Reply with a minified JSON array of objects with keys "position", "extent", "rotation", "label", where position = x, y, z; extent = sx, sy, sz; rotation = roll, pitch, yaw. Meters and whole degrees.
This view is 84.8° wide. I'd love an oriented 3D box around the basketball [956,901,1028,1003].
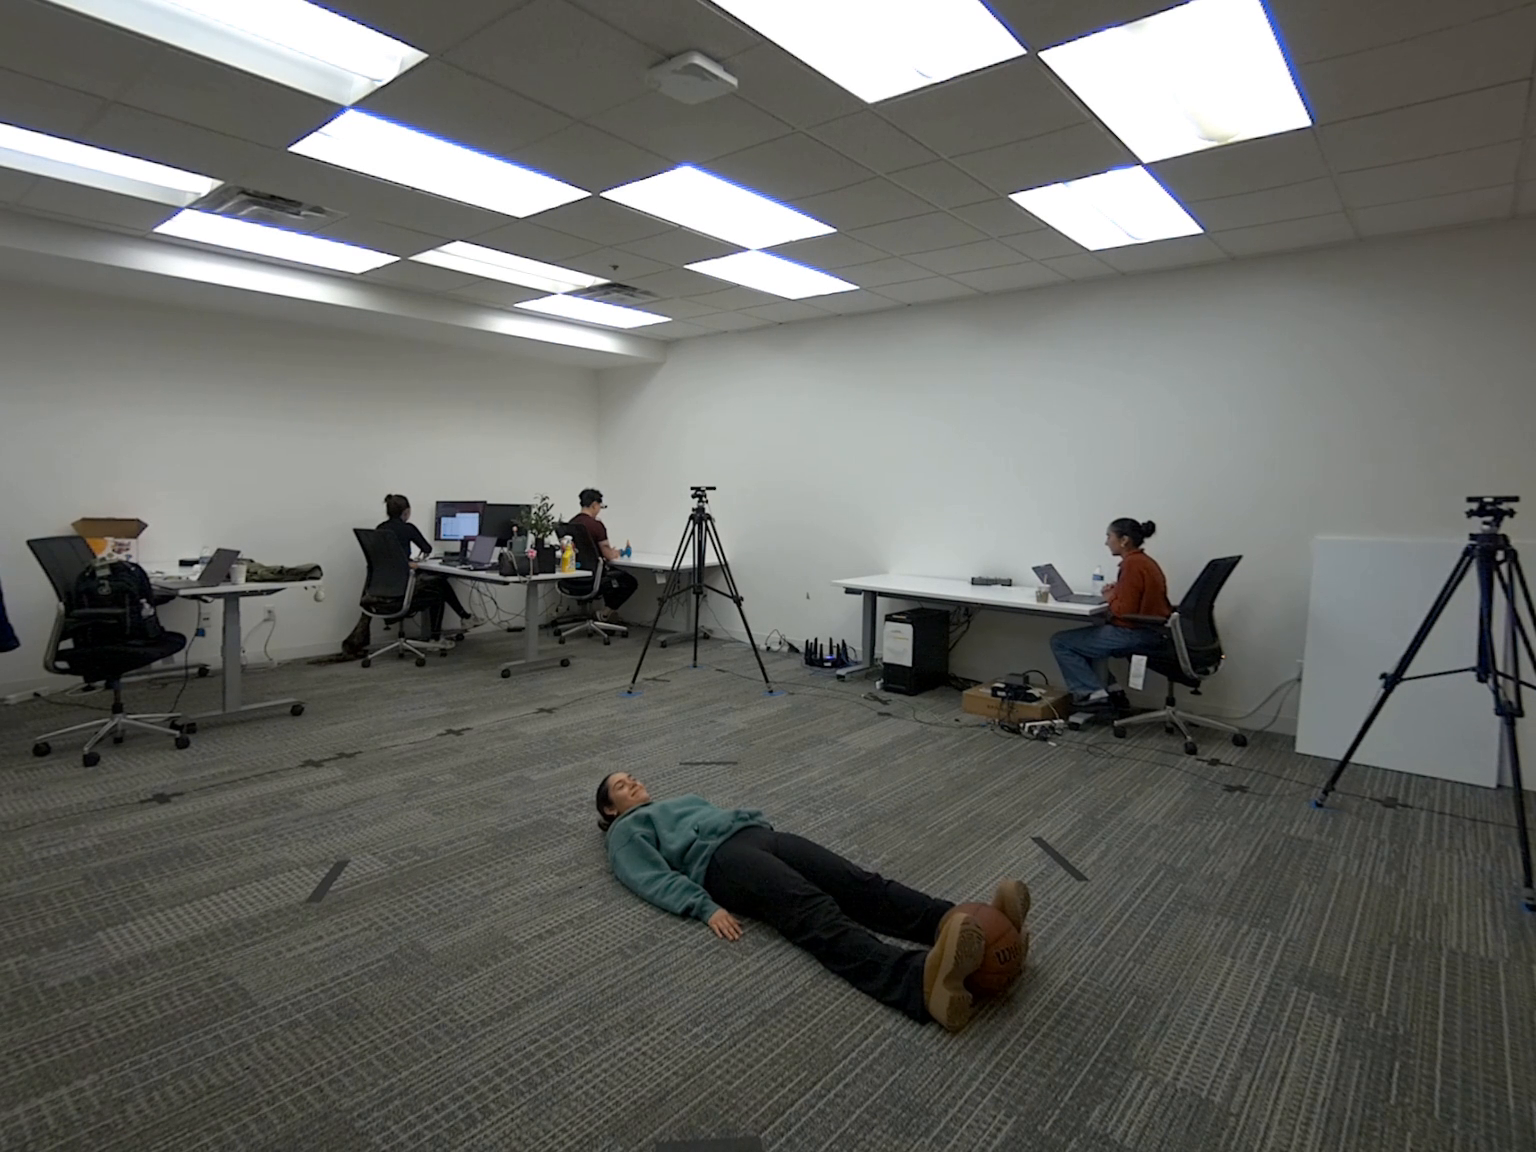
[{"position":[0.591,1.045,2.381],"extent":[0.236,0.235,0.237],"rotation":[0,4,-2],"label":"basketball"}]
